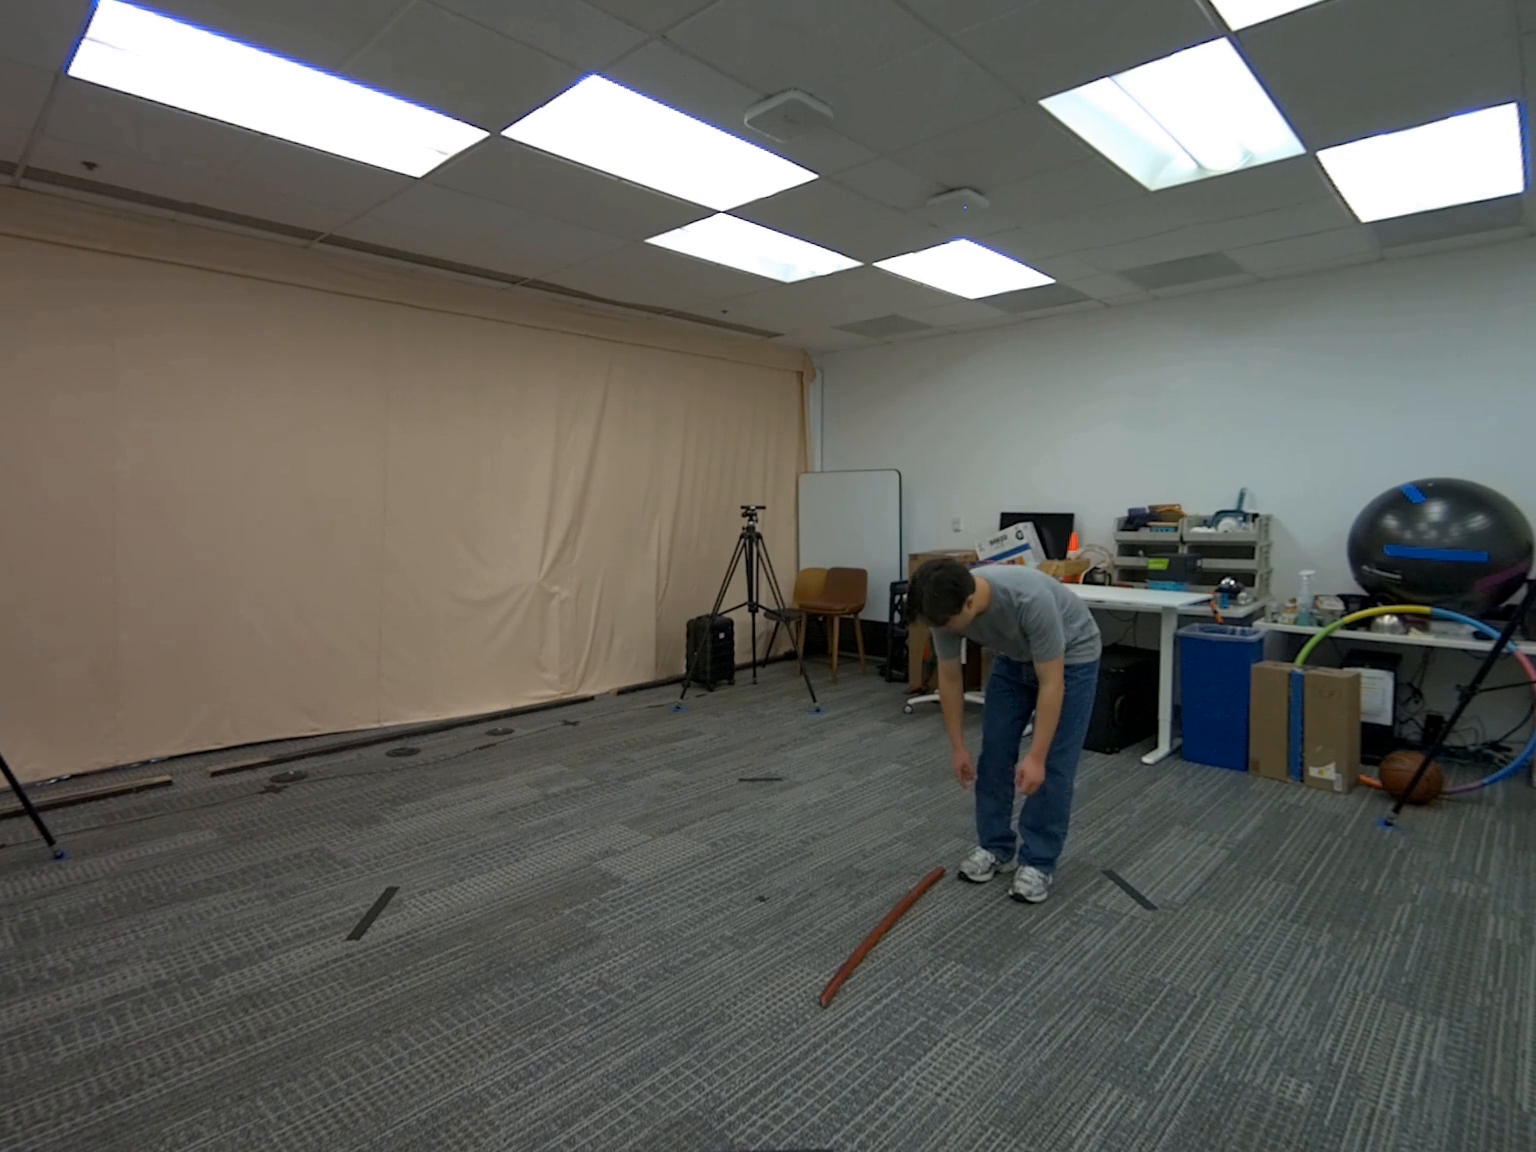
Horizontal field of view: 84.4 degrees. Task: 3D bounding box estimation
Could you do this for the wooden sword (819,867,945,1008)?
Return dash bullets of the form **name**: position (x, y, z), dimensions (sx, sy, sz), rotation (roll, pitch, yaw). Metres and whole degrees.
- **wooden sword**: position (0.392, 1.139, 2.762), dimensions (0.052, 0.024, 0.998), rotation (-21, -6, 30)
